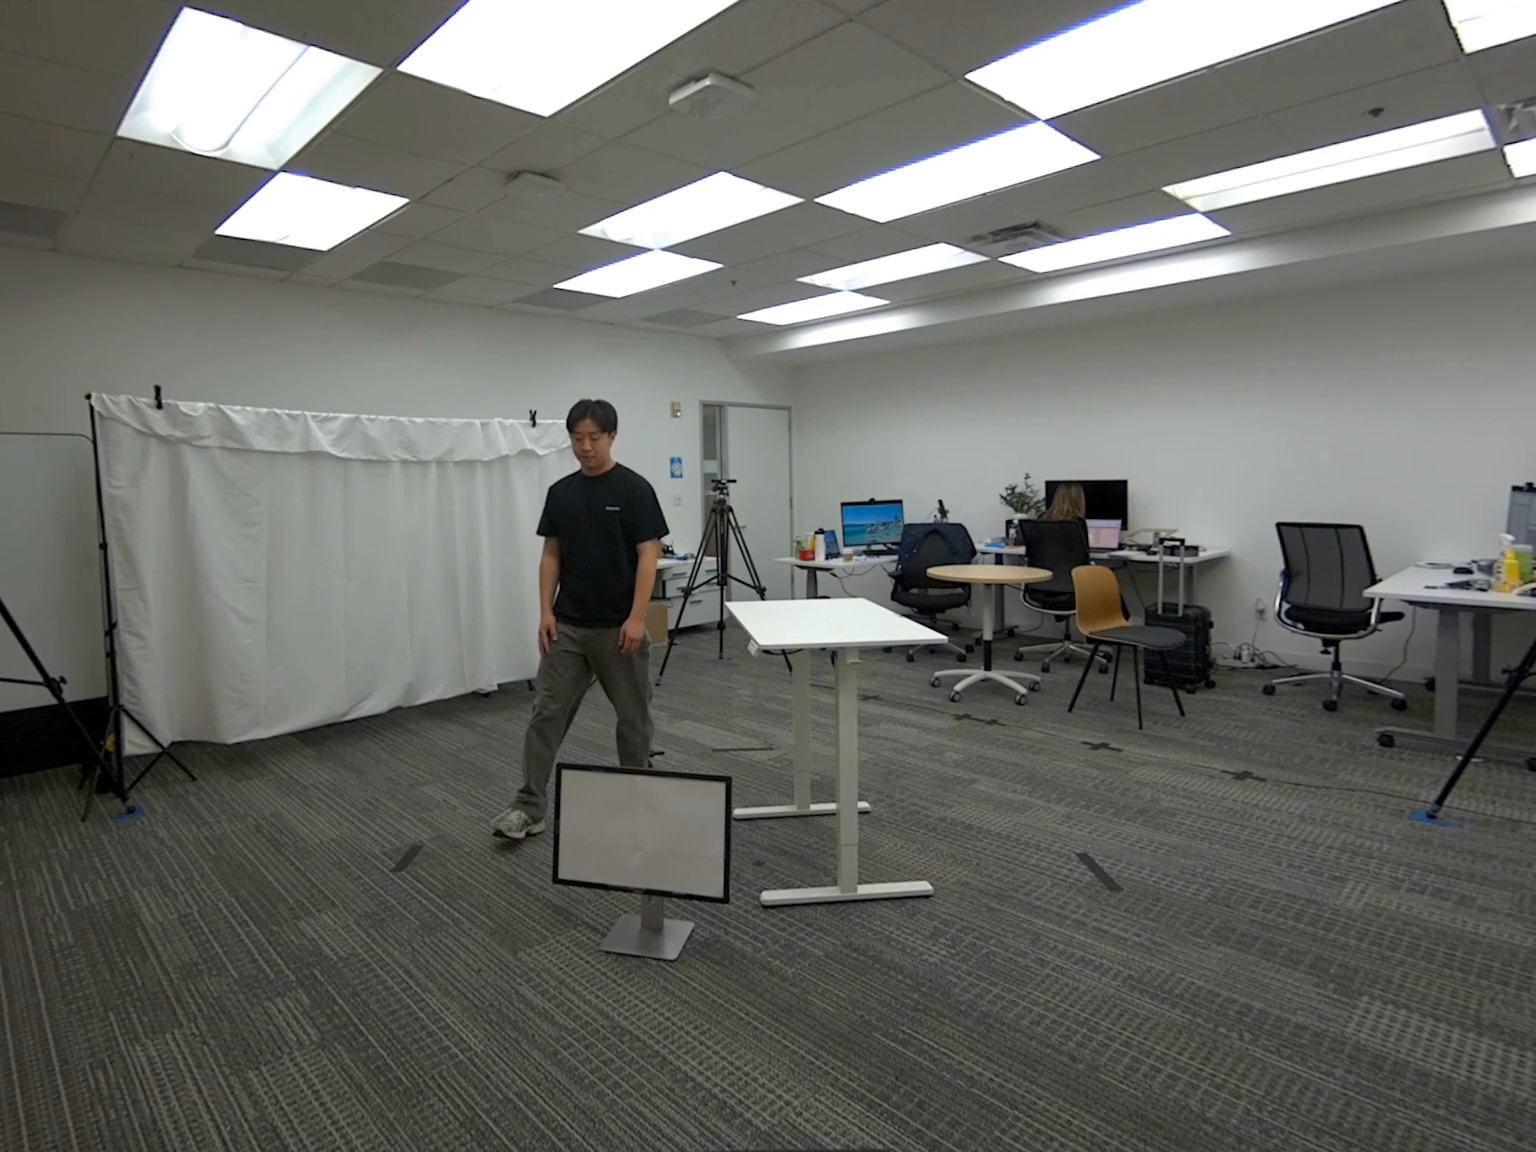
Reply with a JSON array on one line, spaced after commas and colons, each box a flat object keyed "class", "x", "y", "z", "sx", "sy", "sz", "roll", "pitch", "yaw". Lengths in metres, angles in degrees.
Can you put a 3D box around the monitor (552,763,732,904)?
[{"class": "monitor", "x": -0.365, "y": 0.856, "z": 2.587, "sx": 0.571, "sy": 0.561, "sz": 0.220, "roll": 1, "pitch": 9, "yaw": 17}]
